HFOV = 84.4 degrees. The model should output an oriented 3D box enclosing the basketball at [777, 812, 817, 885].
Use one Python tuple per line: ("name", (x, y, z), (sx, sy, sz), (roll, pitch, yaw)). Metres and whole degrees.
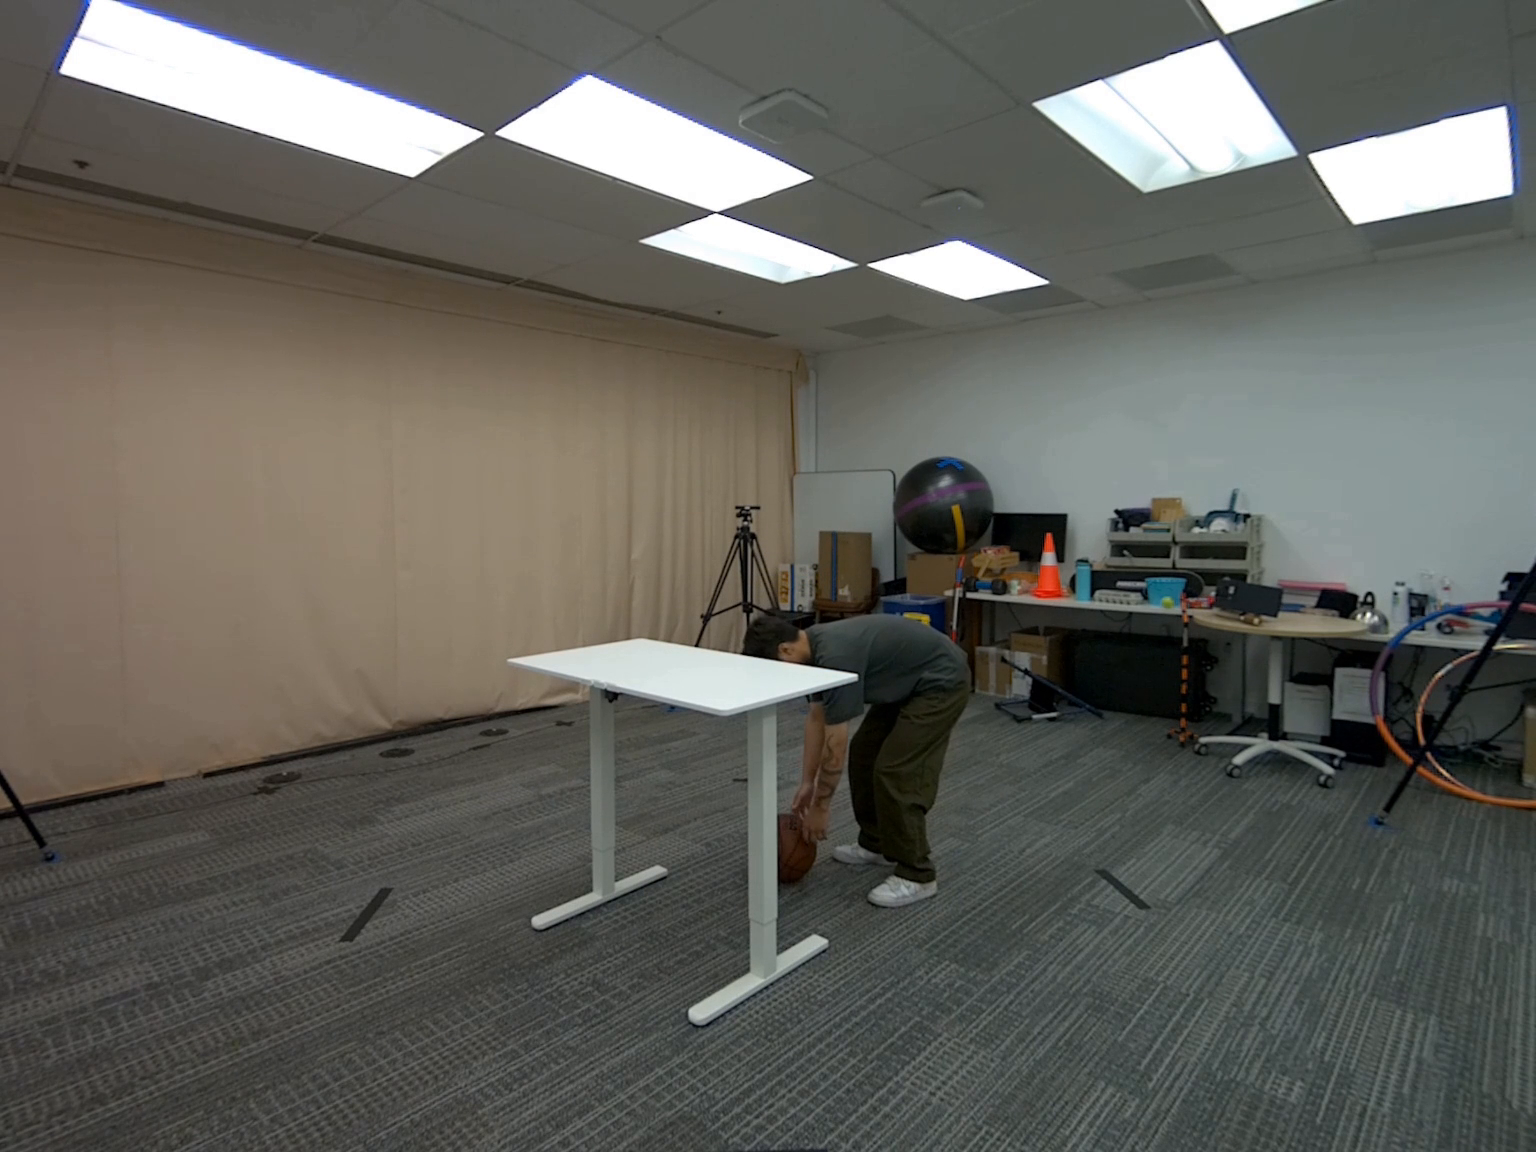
("basketball", (0.066, 1.011, 3.139), (0.236, 0.235, 0.237), (0, 4, -2))
